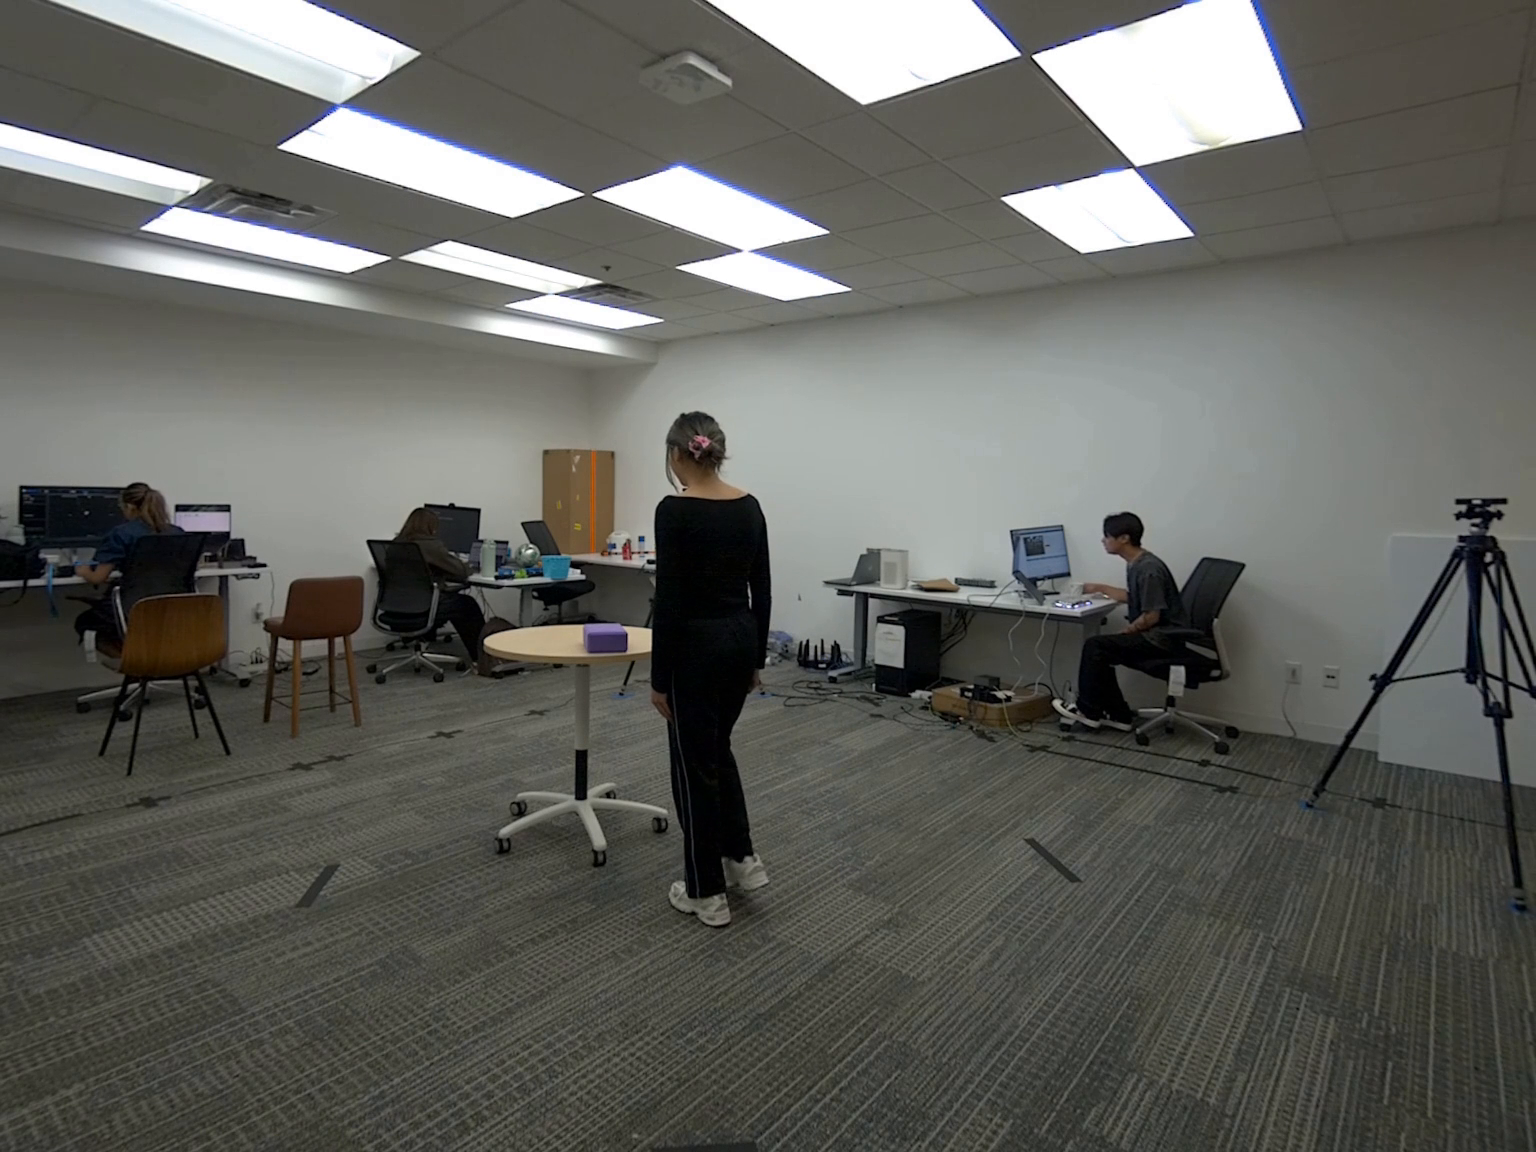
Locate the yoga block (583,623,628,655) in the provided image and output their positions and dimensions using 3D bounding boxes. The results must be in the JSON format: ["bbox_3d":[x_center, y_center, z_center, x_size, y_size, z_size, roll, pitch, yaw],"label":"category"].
[{"bbox_3d":[-0.629,0.229,3.201,0.147,0.076,0.233,-1,5,-12],"label":"yoga block"}]
